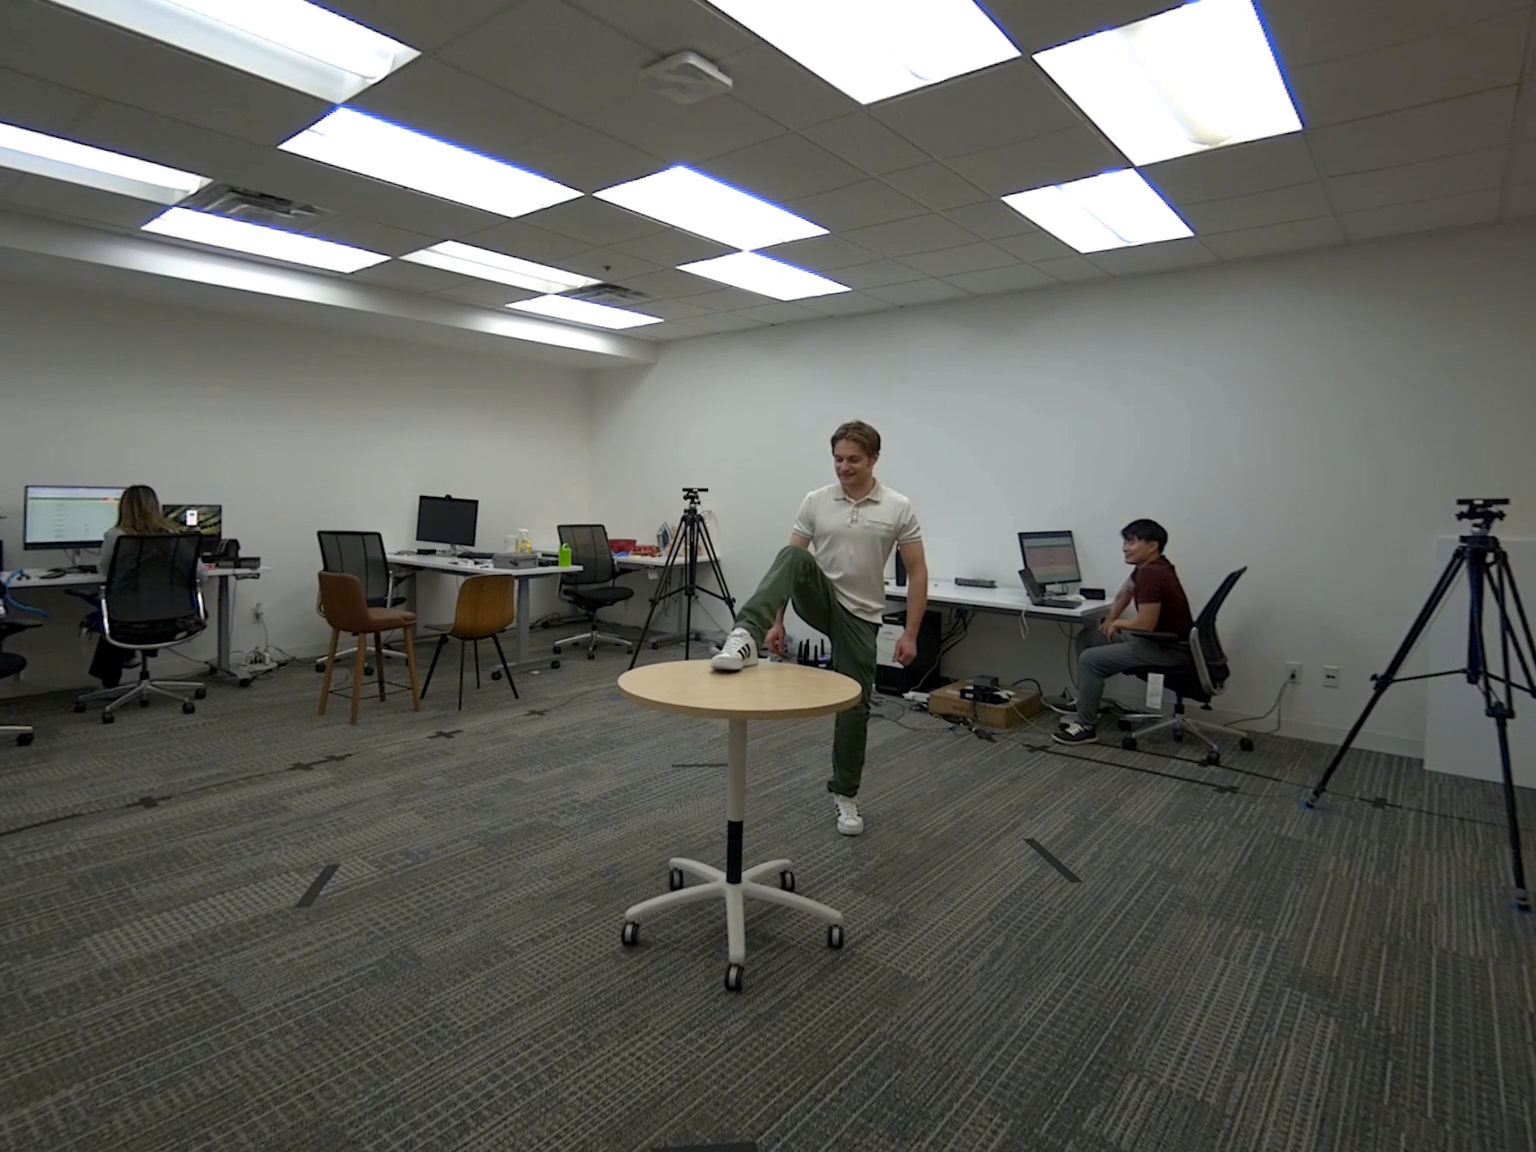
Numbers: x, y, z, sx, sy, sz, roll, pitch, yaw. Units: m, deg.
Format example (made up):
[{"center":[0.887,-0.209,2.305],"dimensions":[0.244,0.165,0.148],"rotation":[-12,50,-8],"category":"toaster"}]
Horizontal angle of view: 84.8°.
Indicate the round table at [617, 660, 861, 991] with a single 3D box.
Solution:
[{"center":[-0.115,0.724,2.694],"dimensions":[0.763,0.792,0.767],"rotation":[1,3,-2],"category":"round table"}]
